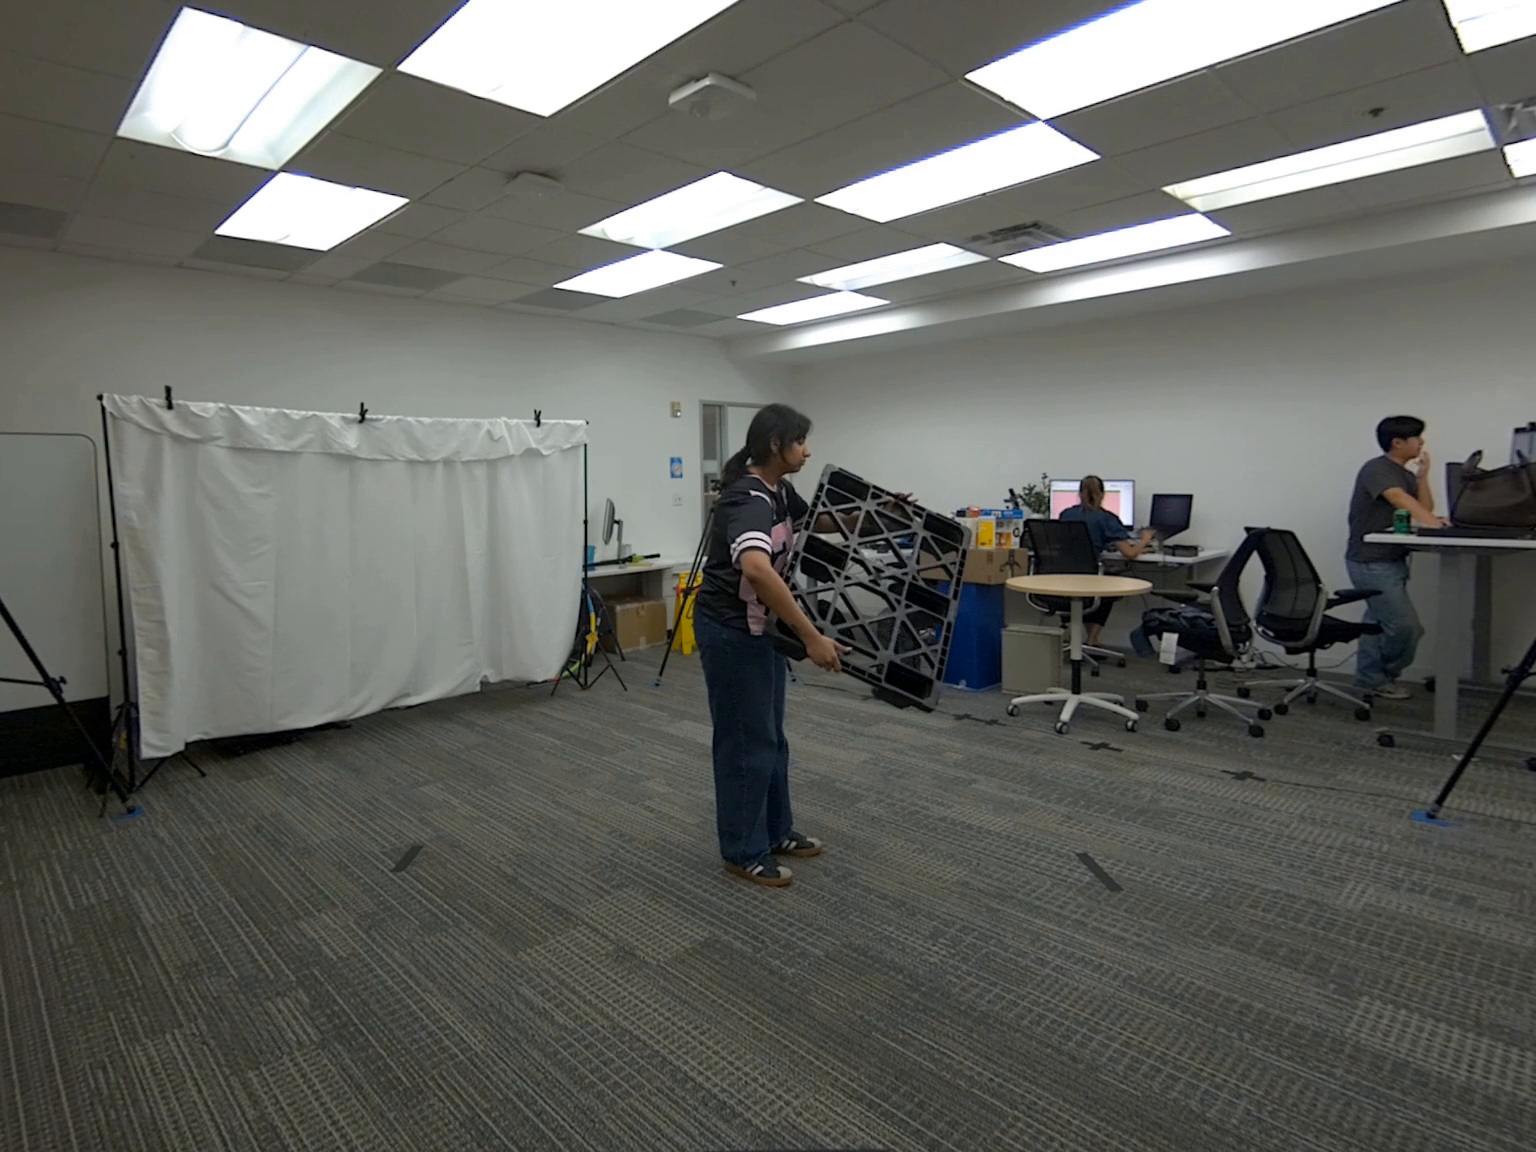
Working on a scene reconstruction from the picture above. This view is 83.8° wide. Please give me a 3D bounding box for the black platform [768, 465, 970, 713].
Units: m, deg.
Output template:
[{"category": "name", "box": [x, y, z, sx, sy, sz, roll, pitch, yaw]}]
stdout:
[{"category": "black platform", "box": [0.350, 0.026, 2.966, 0.605, 0.816, 0.141, 23, -37, 0]}]
